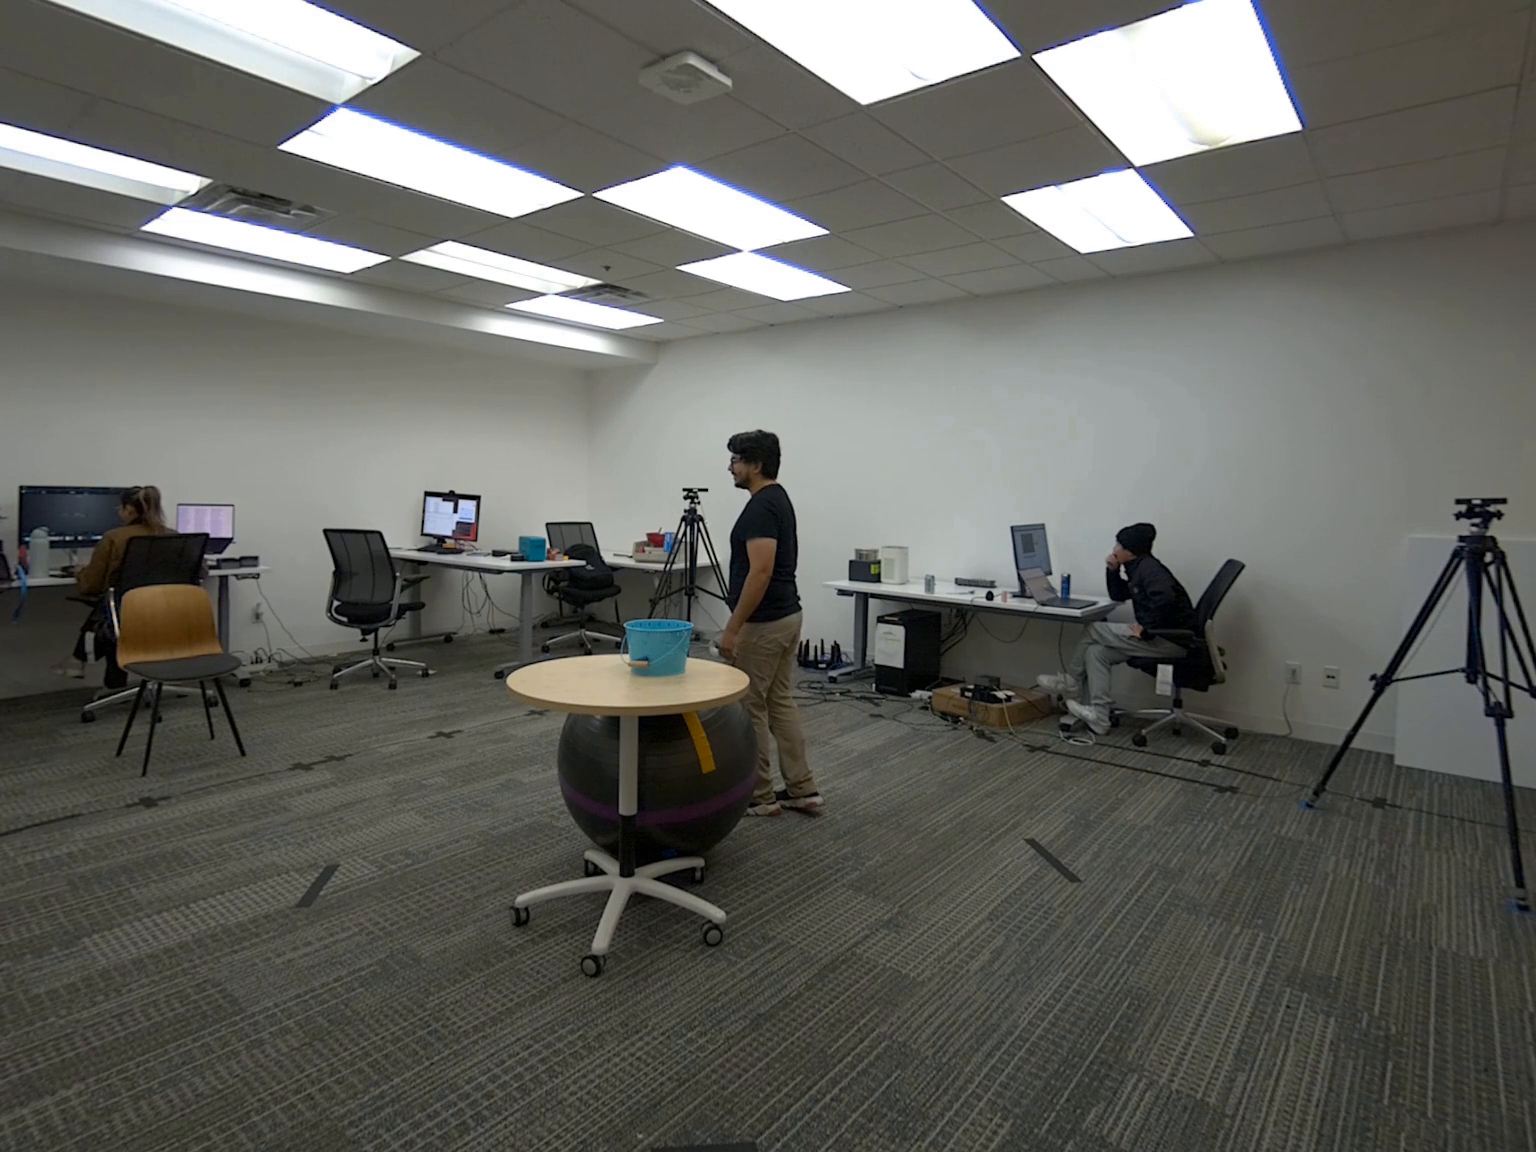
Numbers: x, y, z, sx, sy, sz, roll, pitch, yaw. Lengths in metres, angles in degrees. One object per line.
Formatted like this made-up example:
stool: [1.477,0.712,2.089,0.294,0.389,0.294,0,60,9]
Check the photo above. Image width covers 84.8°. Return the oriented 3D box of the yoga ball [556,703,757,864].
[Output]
yoga ball: [-0.415,0.687,3.219,0.757,0.755,0.762,1,4,-2]
